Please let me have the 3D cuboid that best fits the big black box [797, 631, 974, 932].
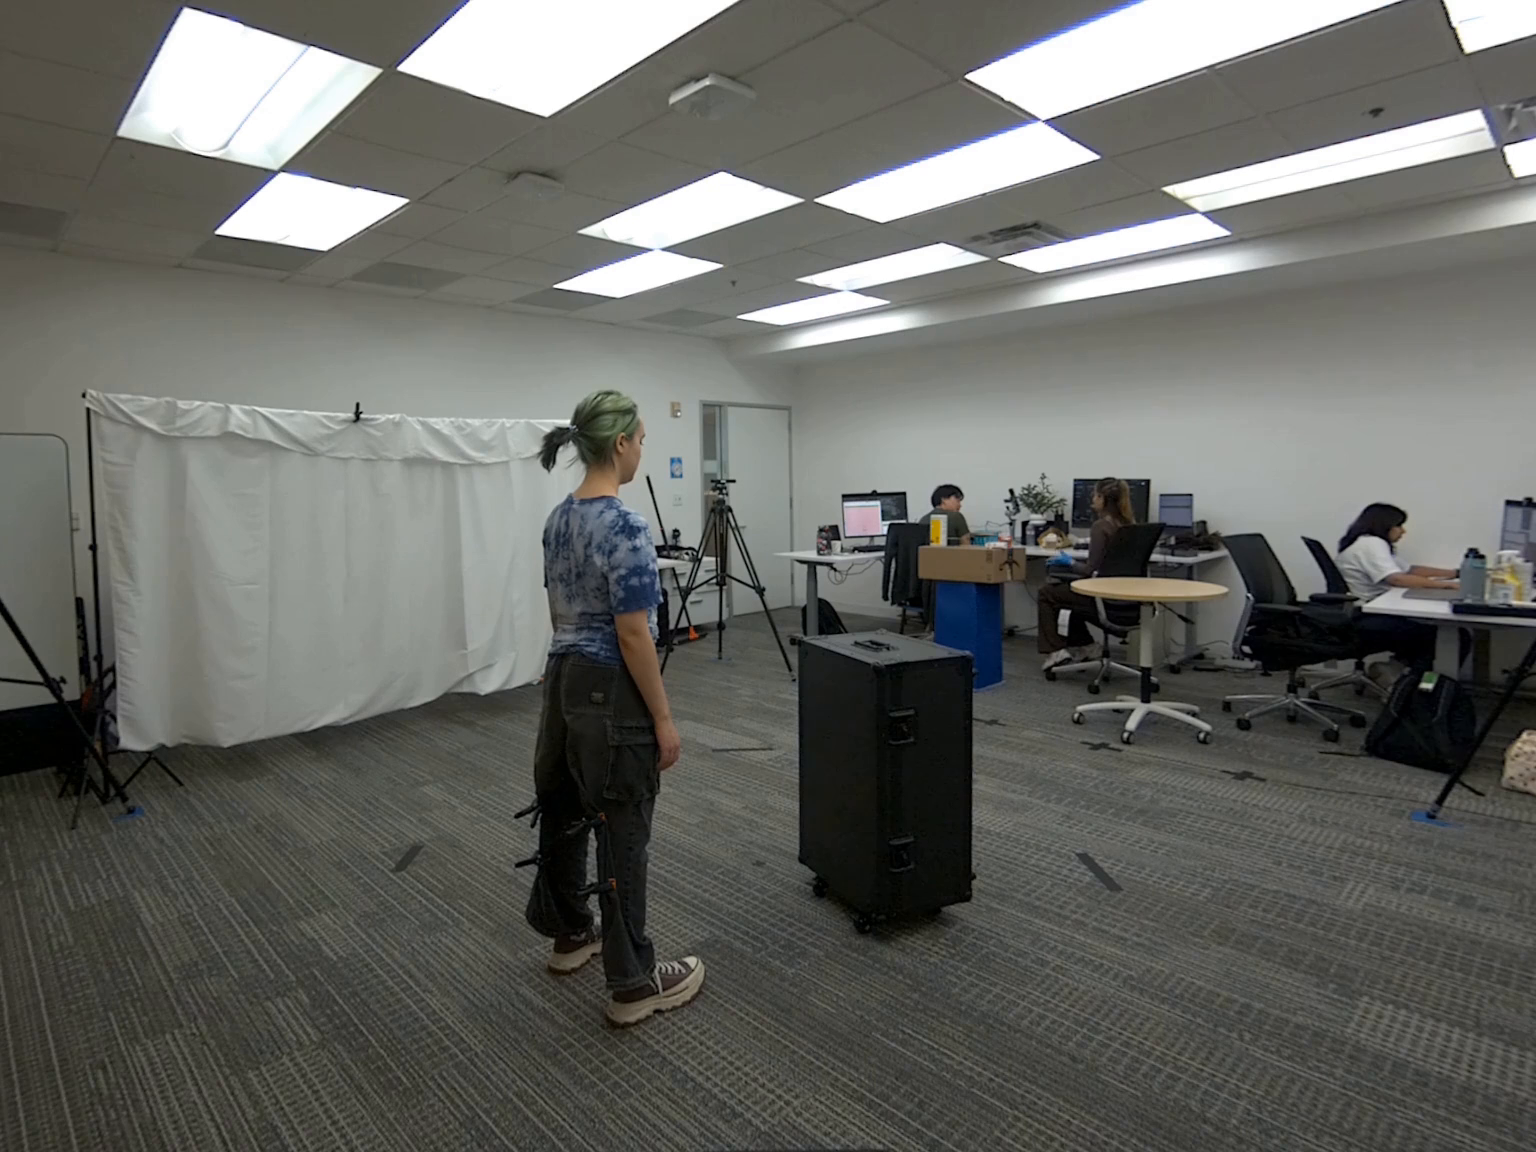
[{"bbox_3d":[0.378,0.649,2.803,0.387,0.859,0.534,-1,4,-26],"label":"big black box"}]
